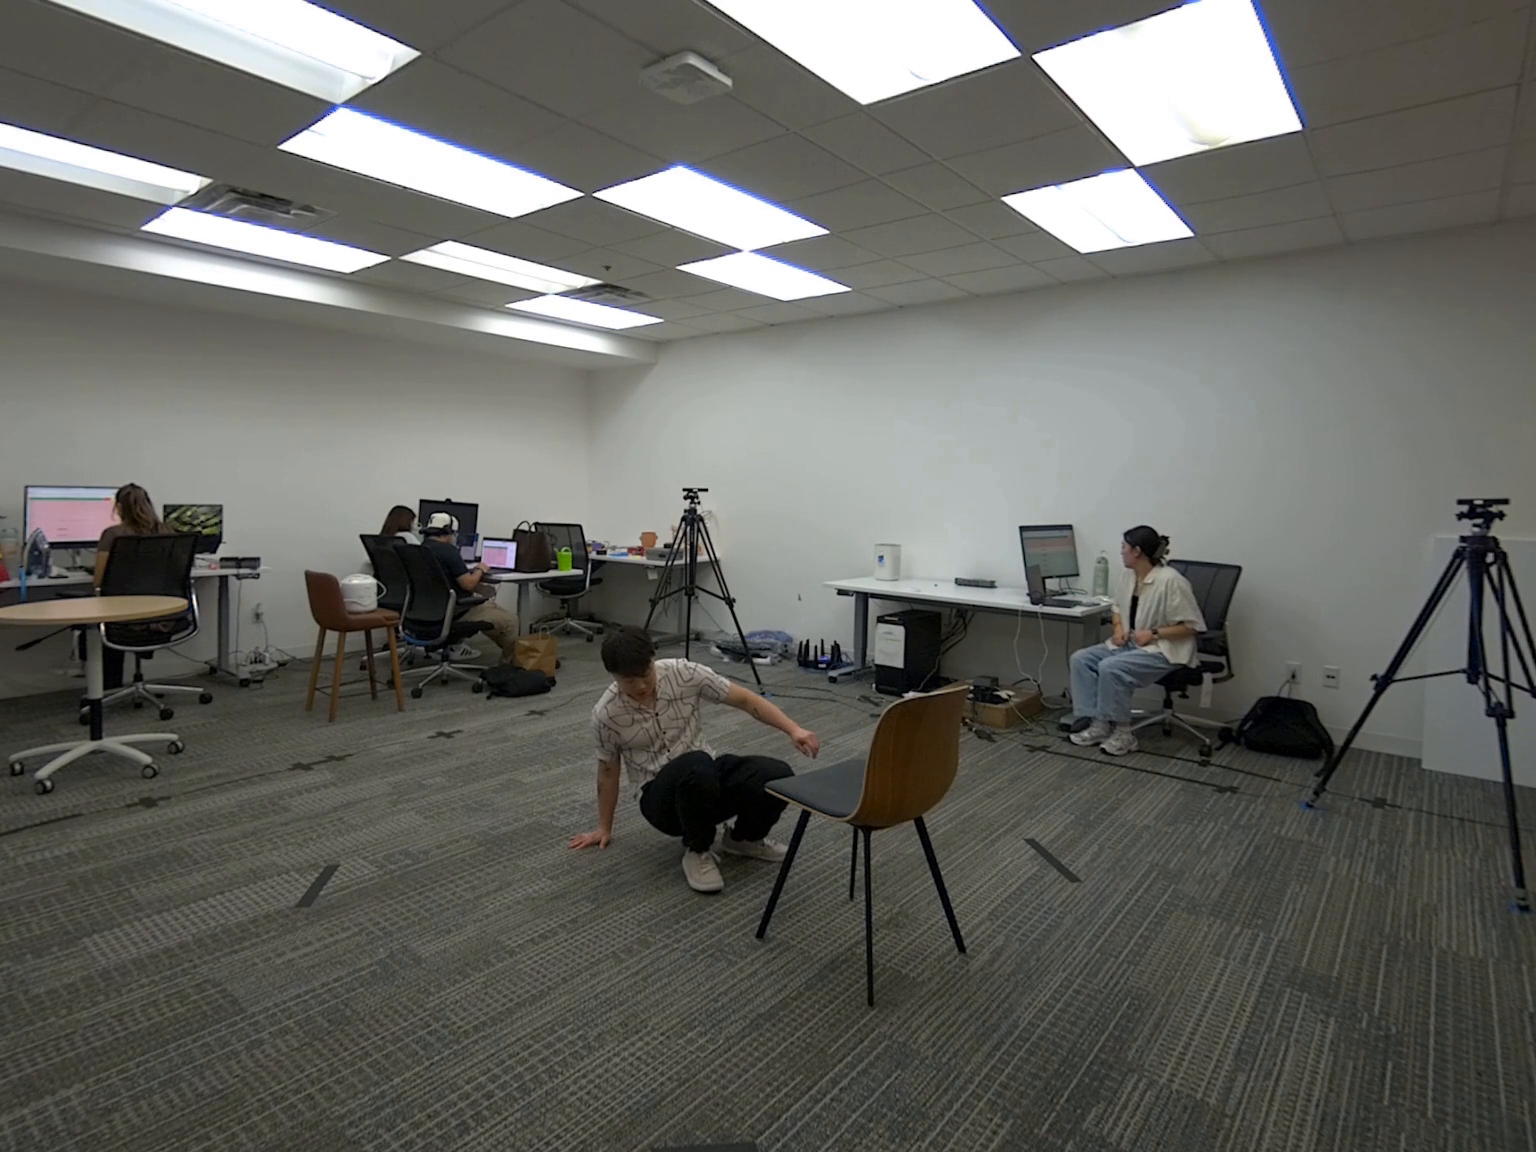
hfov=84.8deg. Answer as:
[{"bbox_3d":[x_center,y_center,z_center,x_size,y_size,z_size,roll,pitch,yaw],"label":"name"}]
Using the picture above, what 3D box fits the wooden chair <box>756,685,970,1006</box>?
[{"bbox_3d":[0.282,0.704,2.586,0.463,0.872,0.542,-2,9,-43],"label":"wooden chair"}]
